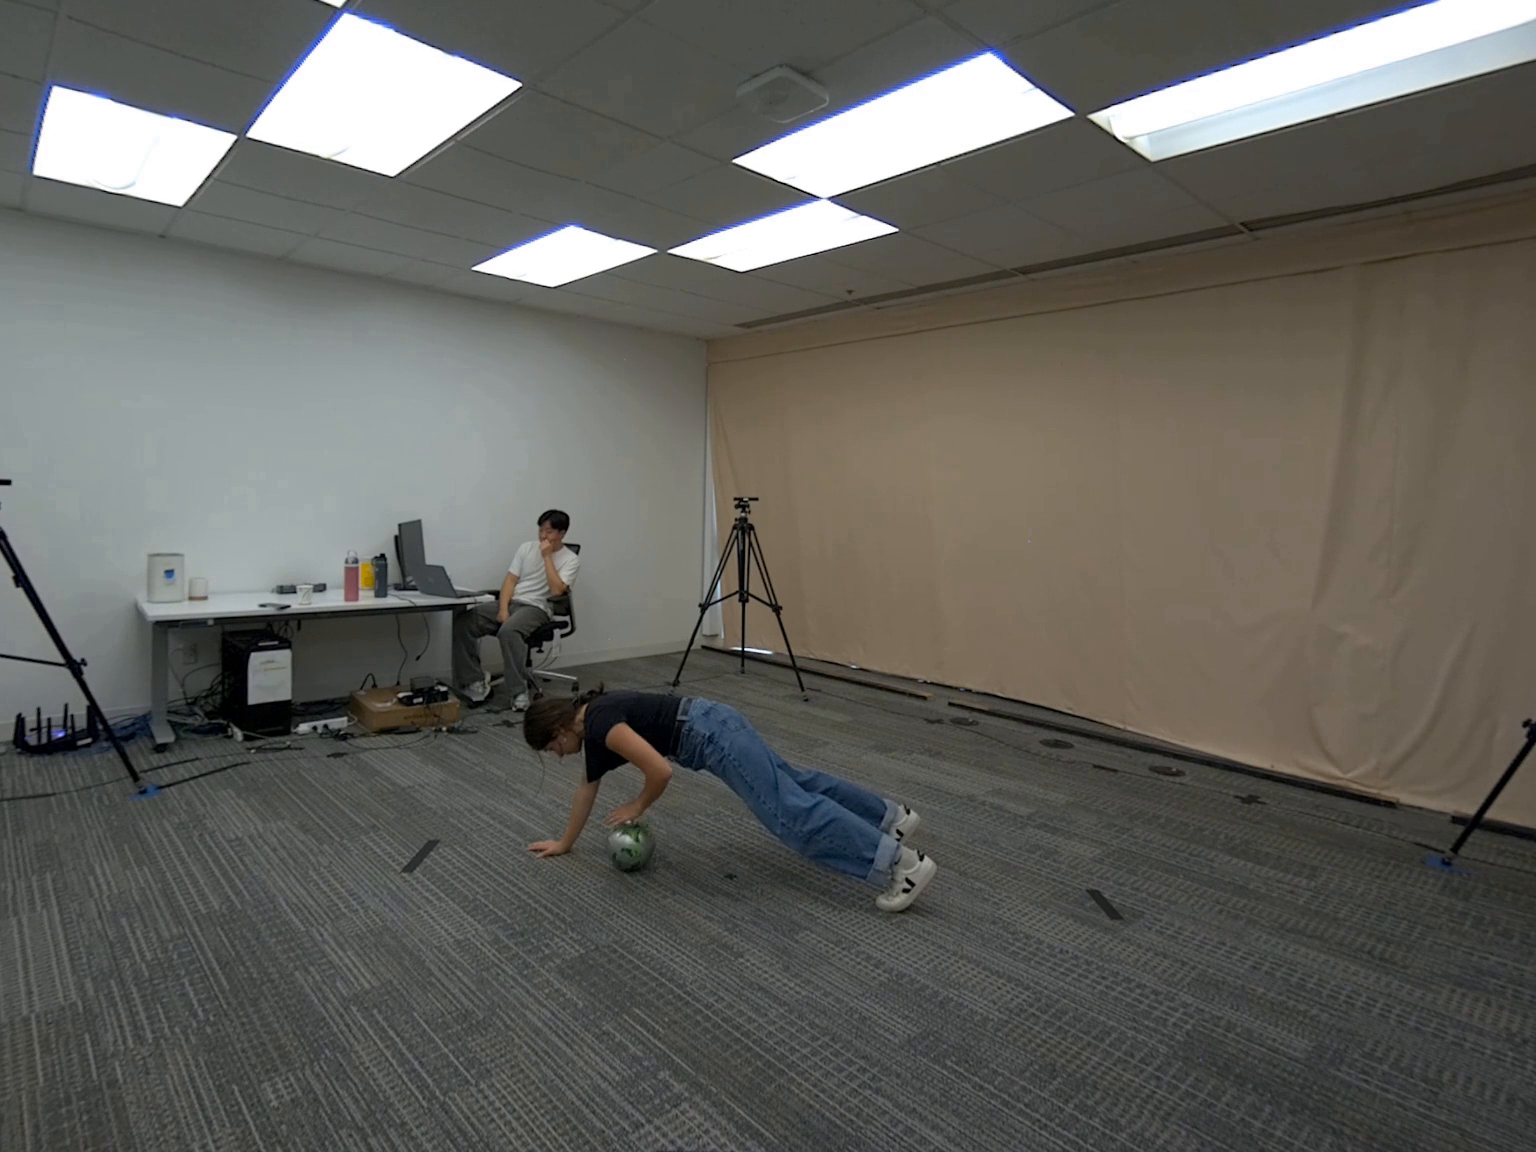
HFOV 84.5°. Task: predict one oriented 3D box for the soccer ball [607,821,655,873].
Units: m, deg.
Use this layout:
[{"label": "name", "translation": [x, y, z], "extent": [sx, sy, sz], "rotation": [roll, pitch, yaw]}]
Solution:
[{"label": "soccer ball", "translation": [-0.518, 1.000, 3.146], "extent": [0.187, 0.187, 0.188], "rotation": [1, 4, -1]}]
